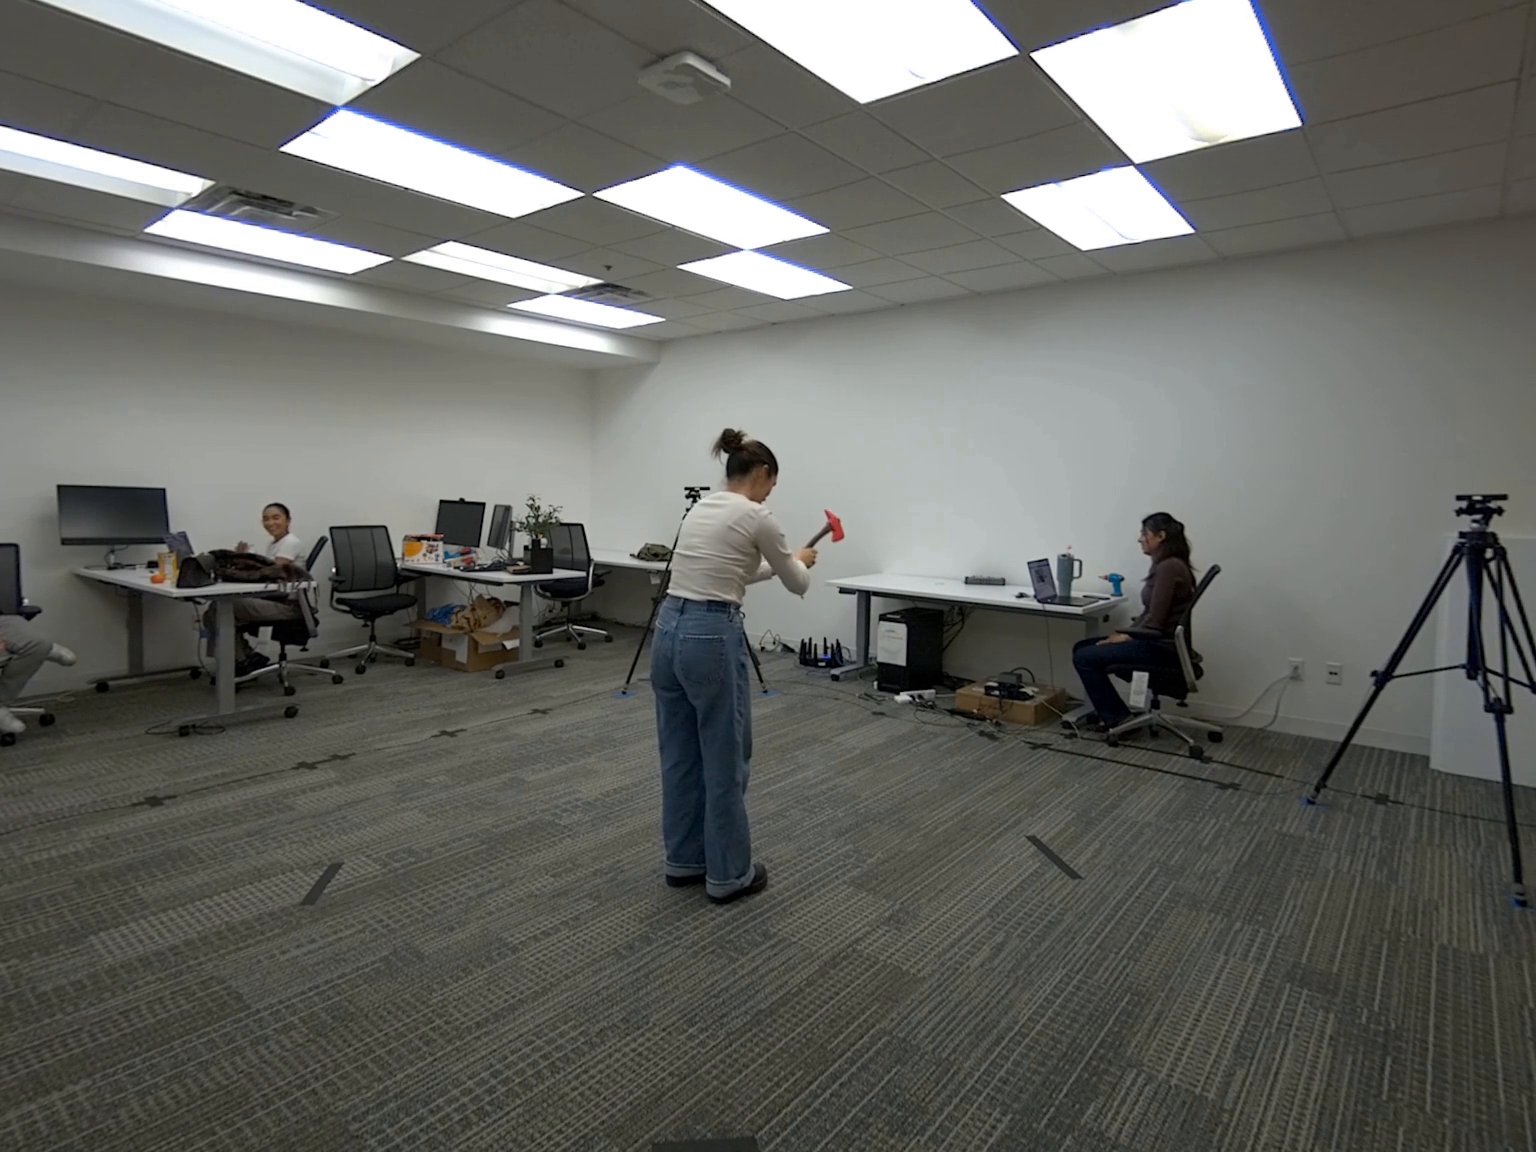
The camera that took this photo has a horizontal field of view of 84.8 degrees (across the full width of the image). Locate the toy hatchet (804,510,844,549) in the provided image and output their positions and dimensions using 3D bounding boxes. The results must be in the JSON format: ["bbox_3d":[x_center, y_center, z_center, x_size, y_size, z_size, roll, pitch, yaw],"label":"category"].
[{"bbox_3d":[0.195,-0.116,3.264,0.128,0.271,0.030,41,-25,-19],"label":"toy hatchet"}]
